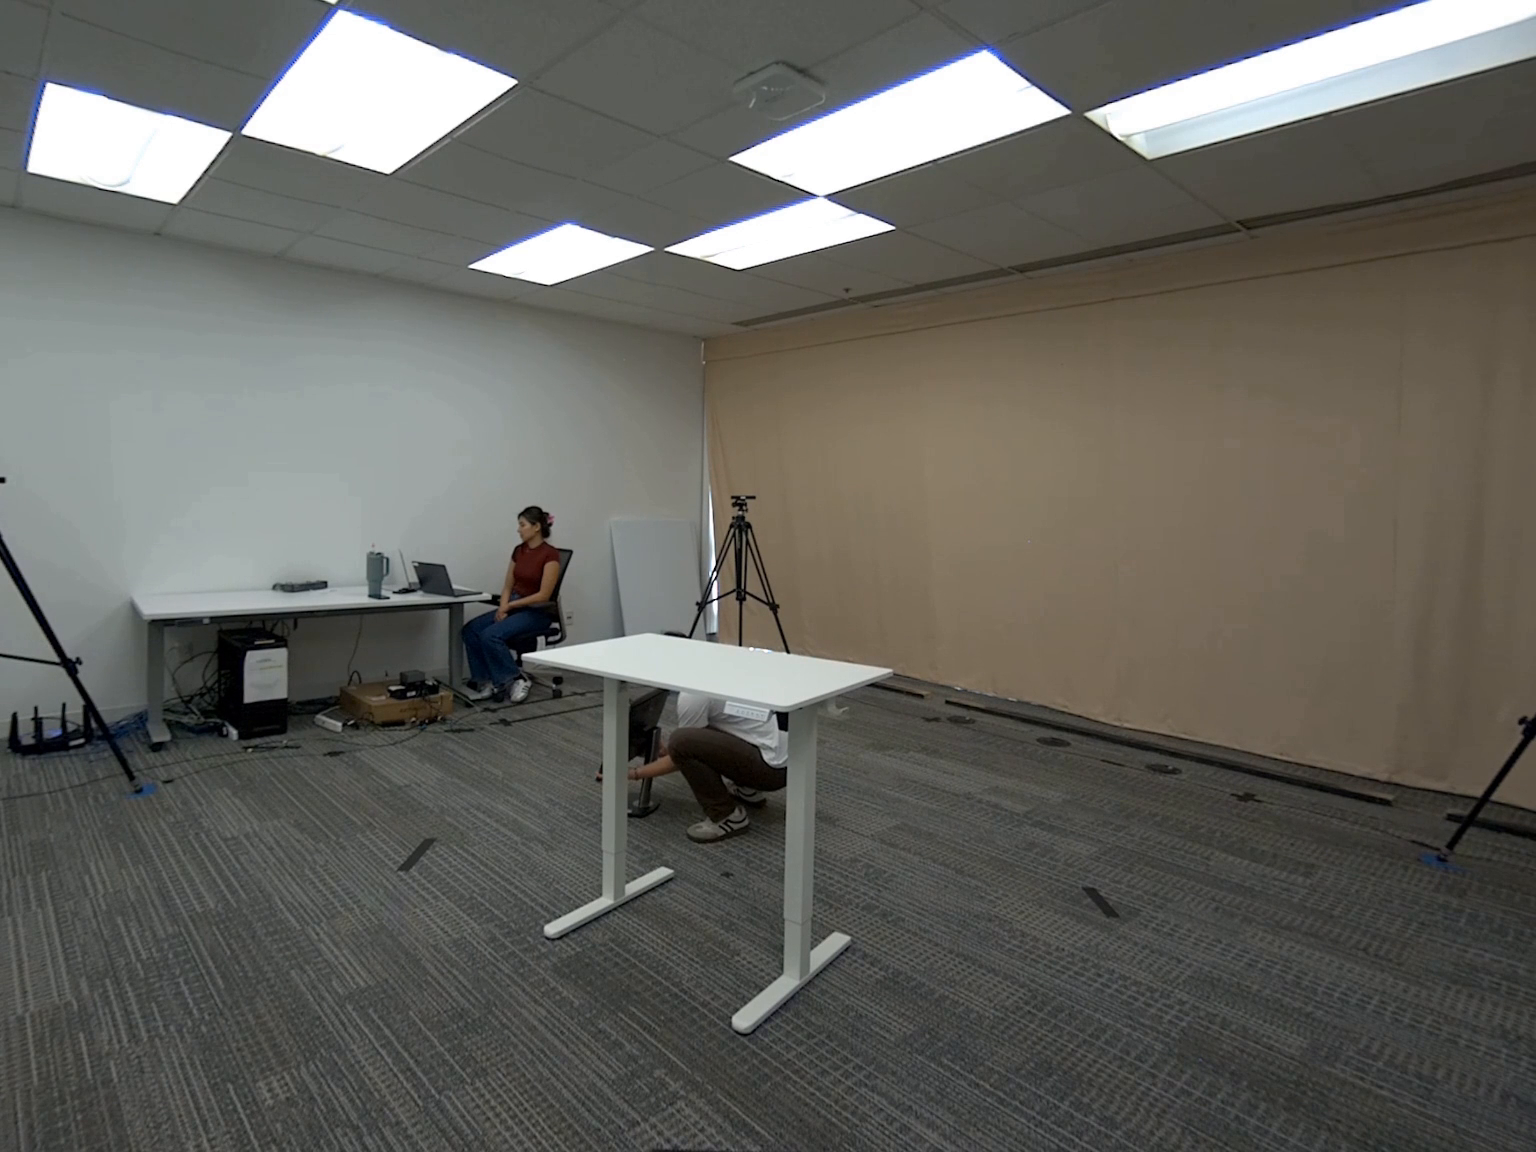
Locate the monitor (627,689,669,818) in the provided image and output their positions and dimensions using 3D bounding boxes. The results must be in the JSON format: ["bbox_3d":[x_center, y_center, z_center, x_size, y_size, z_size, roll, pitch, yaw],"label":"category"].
[{"bbox_3d":[-0.569,0.775,3.759,0.189,0.521,0.534,5,4,11],"label":"monitor"}]
